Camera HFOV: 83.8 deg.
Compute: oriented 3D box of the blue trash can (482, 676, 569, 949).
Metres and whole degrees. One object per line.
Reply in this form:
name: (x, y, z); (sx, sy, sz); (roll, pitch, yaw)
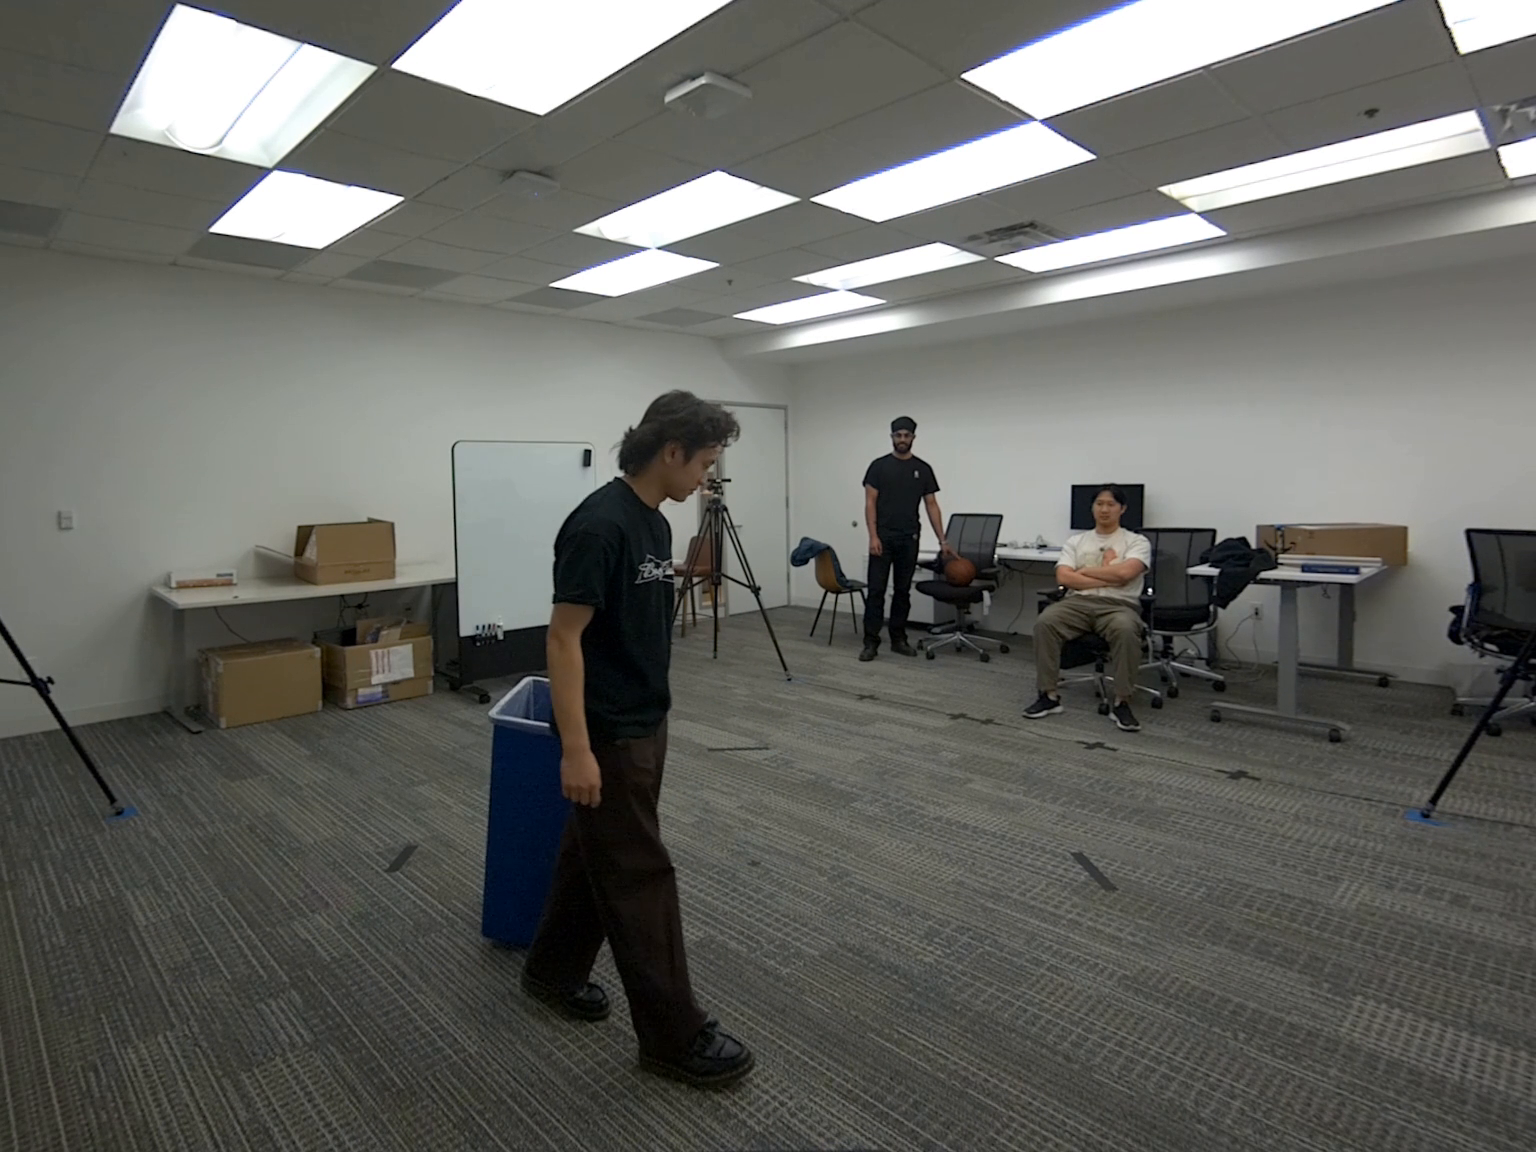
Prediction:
blue trash can: (-0.648, 0.737, 2.622); (0.380, 0.709, 0.374); (8, 8, 4)
